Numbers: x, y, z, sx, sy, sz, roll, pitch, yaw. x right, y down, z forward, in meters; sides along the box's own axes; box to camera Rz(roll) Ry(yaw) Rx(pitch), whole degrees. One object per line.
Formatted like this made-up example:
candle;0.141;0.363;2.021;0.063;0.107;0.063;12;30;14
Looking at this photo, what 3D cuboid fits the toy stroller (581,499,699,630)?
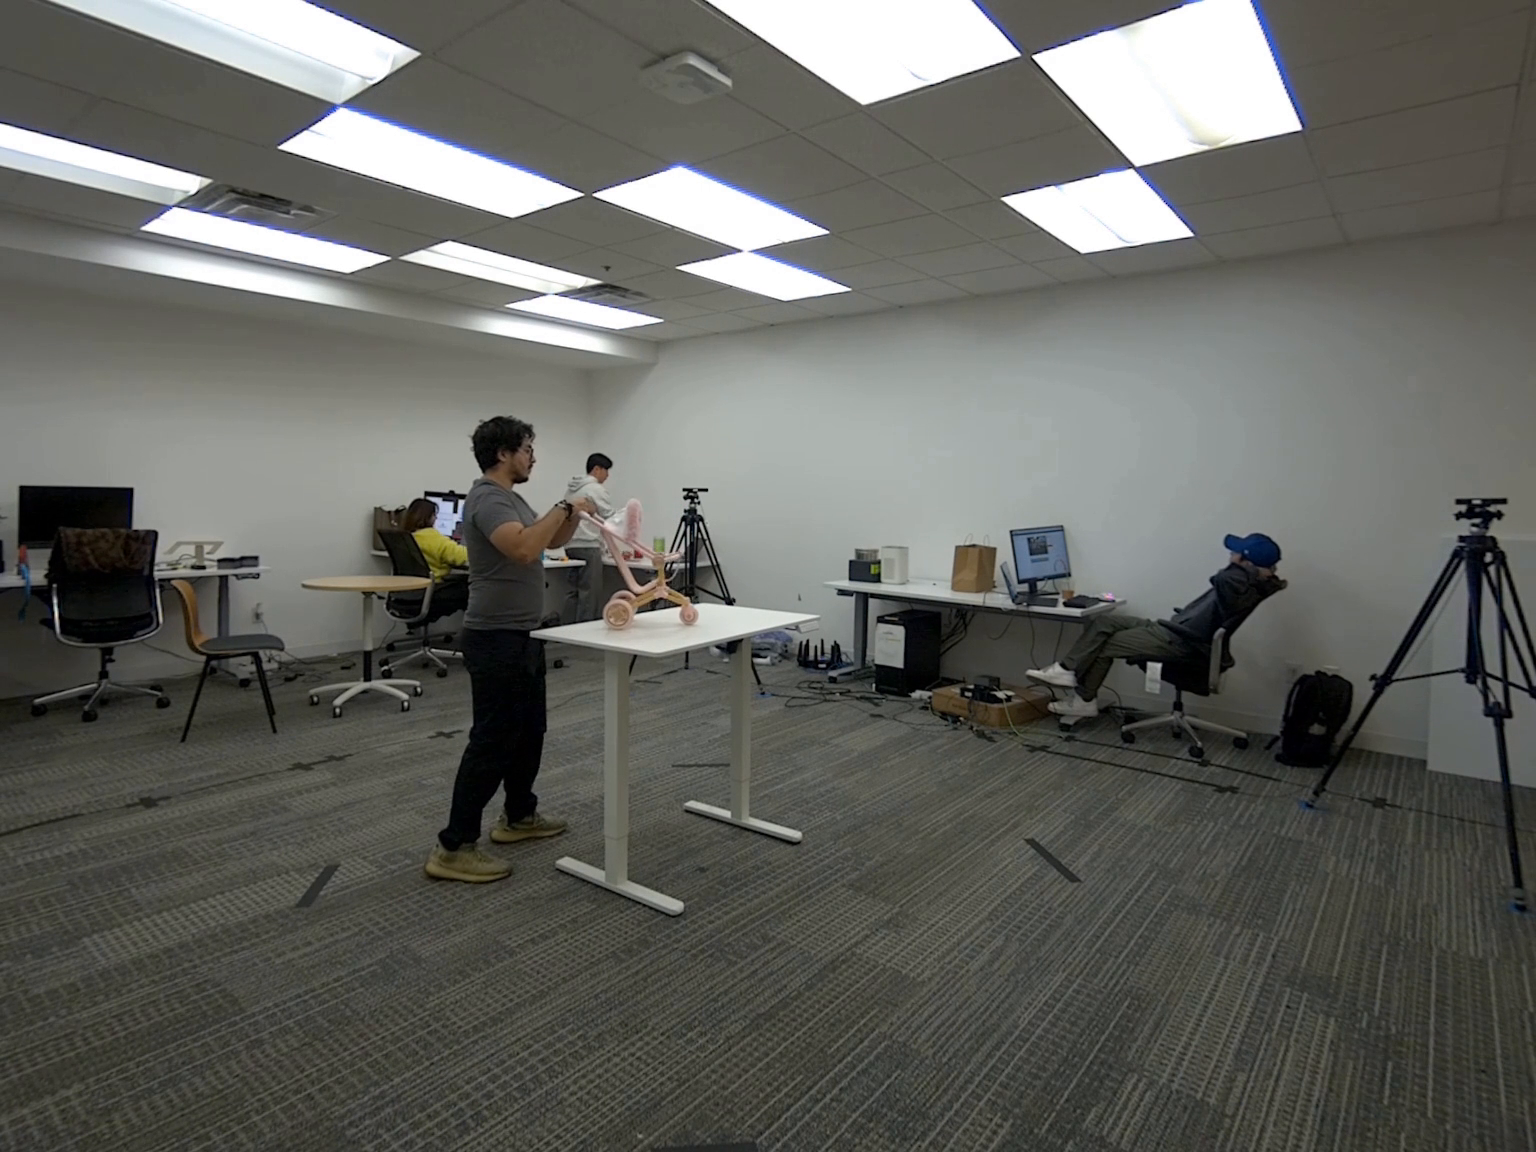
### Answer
toy stroller;-0.485;-0.042;3.141;0.342;0.533;0.282;-14;4;3
